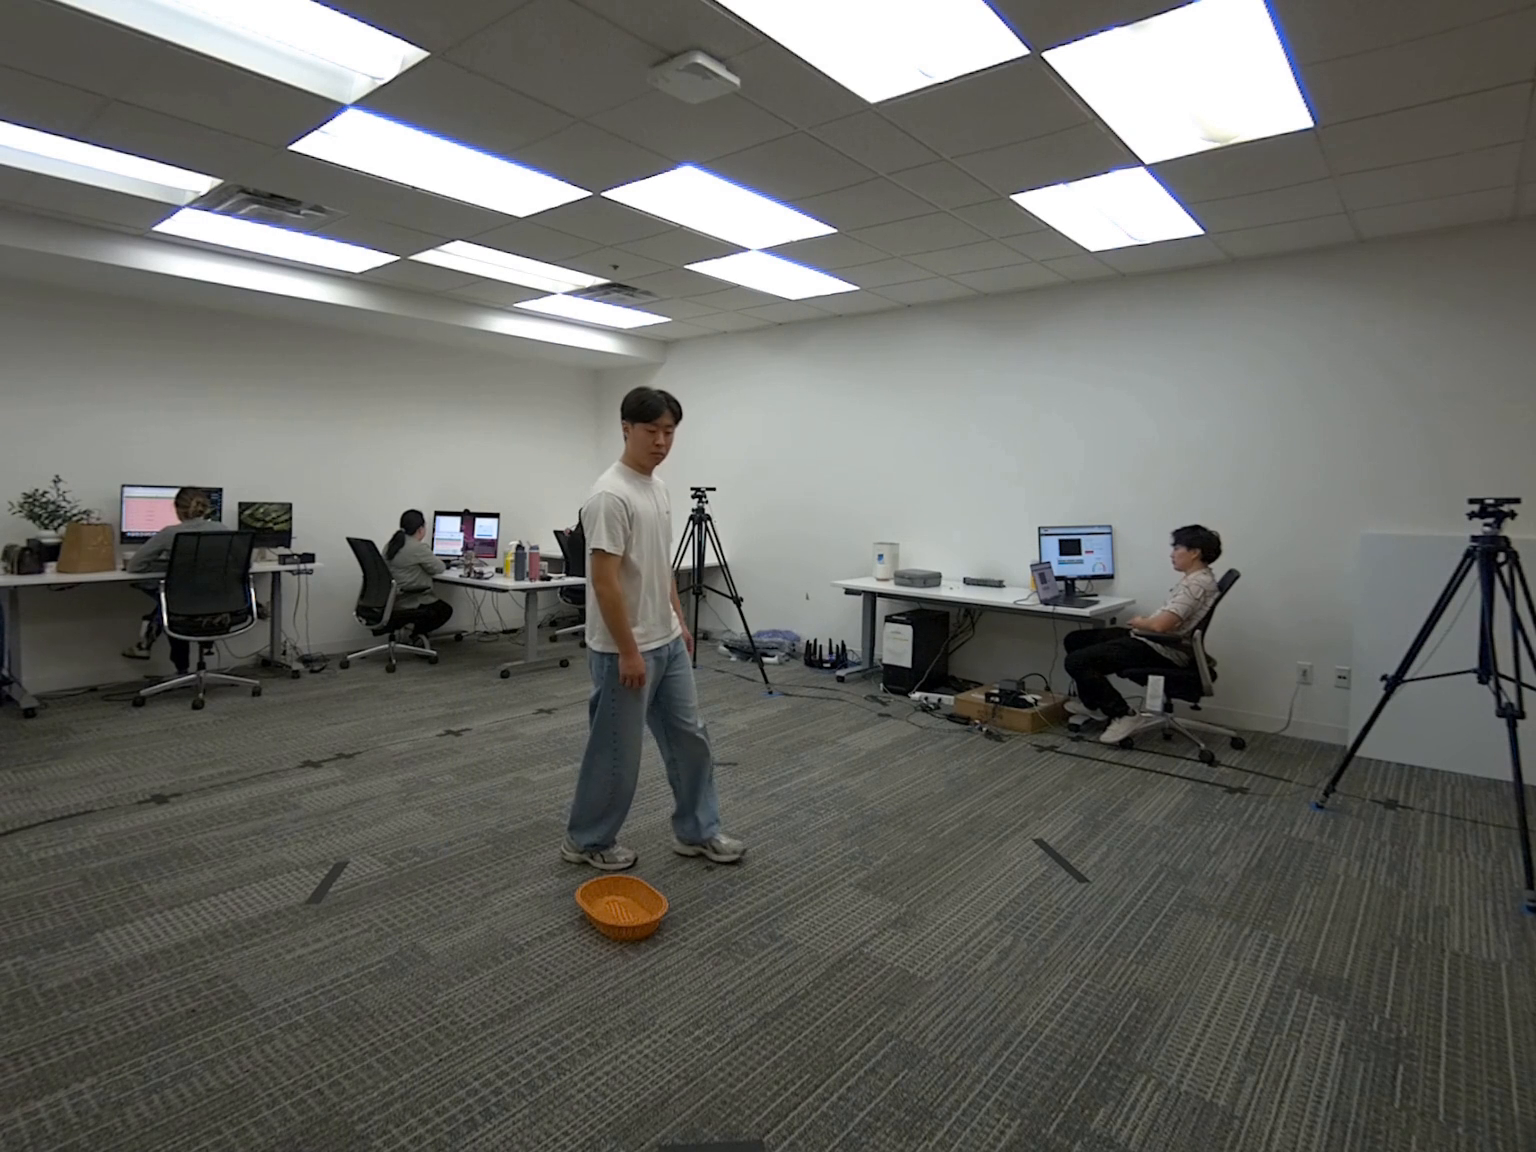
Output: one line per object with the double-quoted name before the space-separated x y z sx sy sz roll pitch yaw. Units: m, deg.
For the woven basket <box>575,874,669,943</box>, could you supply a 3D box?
"woven basket" -0.479 1.063 2.727 0.245 0.073 0.362 -4 8 -37
